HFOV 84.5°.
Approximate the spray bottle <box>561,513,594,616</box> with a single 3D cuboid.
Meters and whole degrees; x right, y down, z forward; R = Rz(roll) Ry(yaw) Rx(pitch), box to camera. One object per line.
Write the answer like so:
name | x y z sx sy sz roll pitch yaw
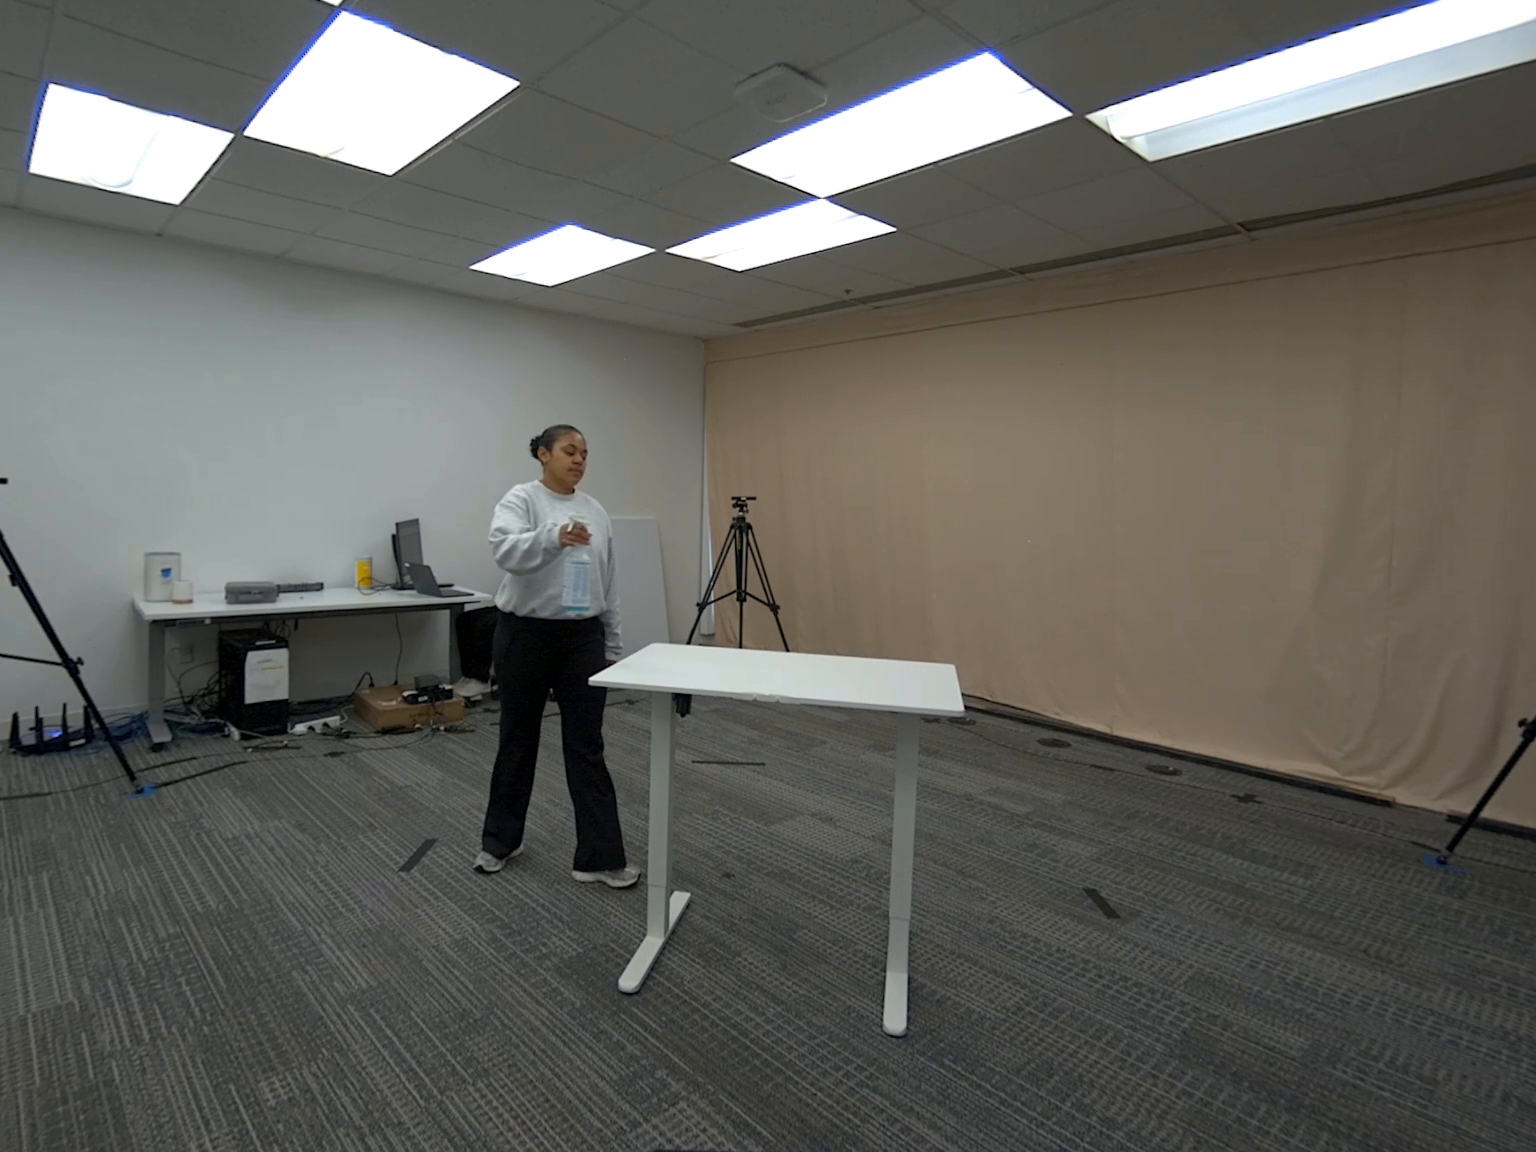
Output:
spray bottle | -0.593 -0.031 2.593 0.088 0.297 0.089 1 -1 -28
